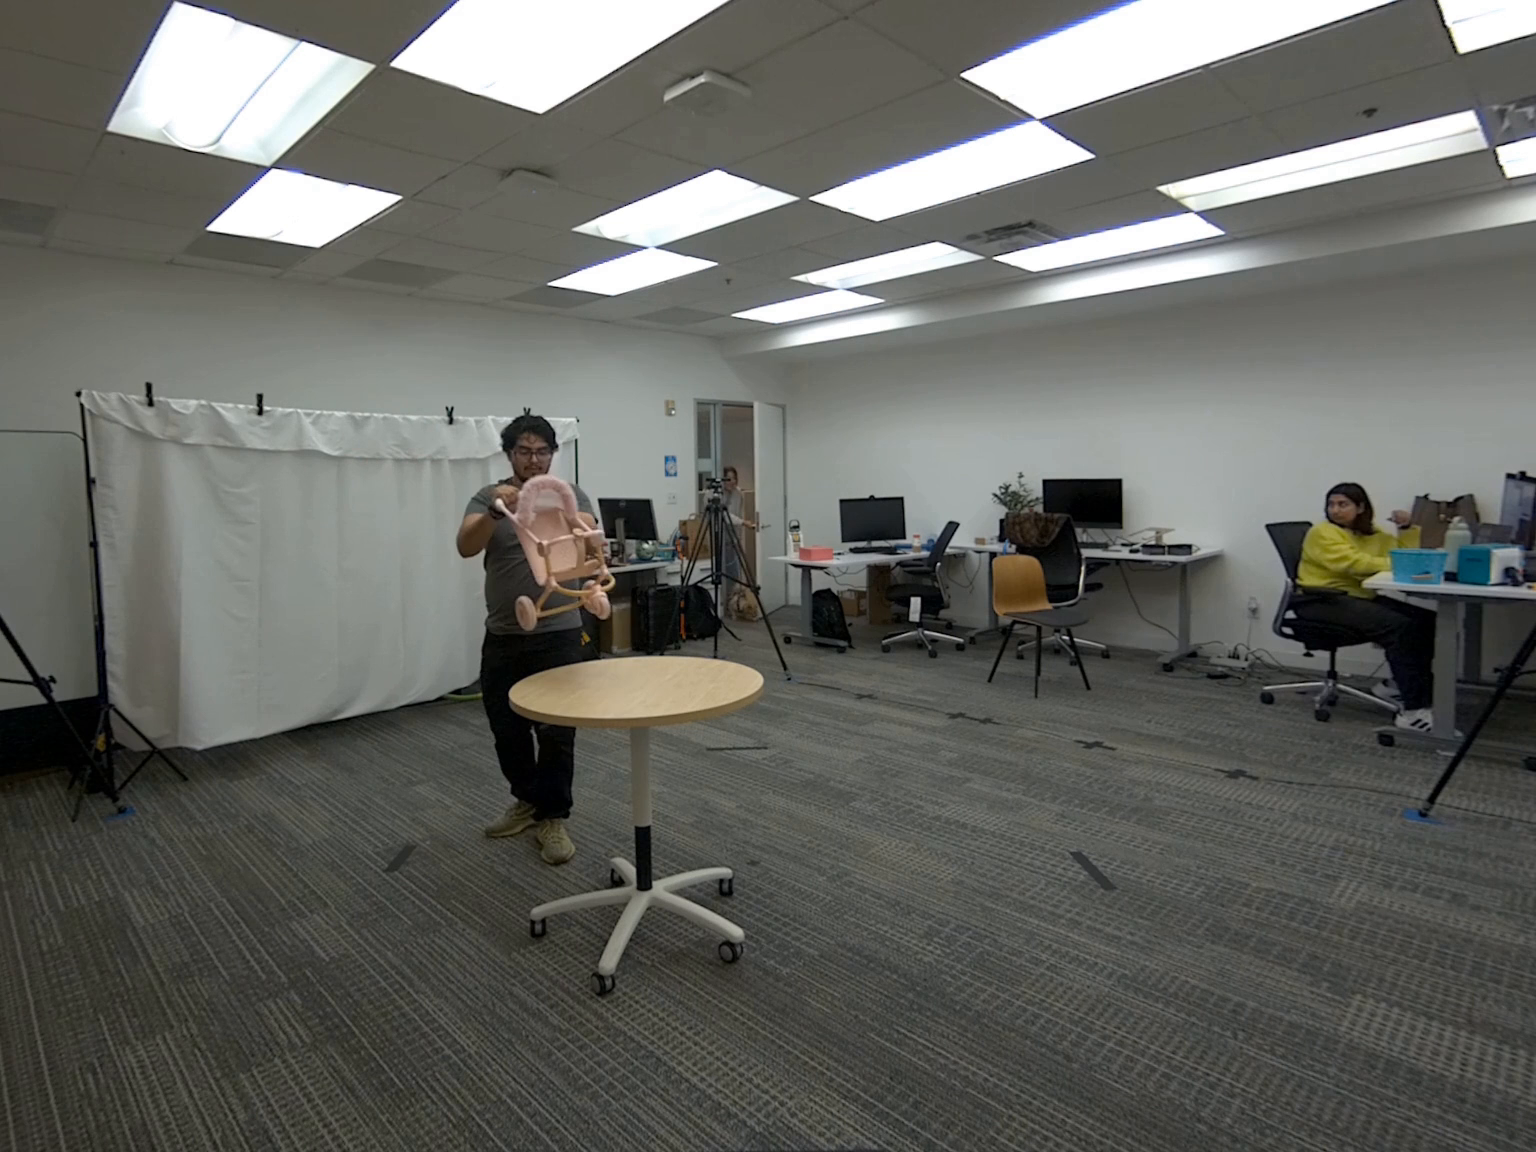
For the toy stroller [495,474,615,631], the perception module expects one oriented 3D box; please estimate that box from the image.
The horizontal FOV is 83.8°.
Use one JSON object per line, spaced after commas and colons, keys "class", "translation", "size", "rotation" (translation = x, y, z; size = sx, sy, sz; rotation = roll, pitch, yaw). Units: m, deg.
{"class": "toy stroller", "translation": [-0.670, -0.083, 2.702], "size": [0.275, 0.542, 0.344], "rotation": [-11, -12, -36]}
